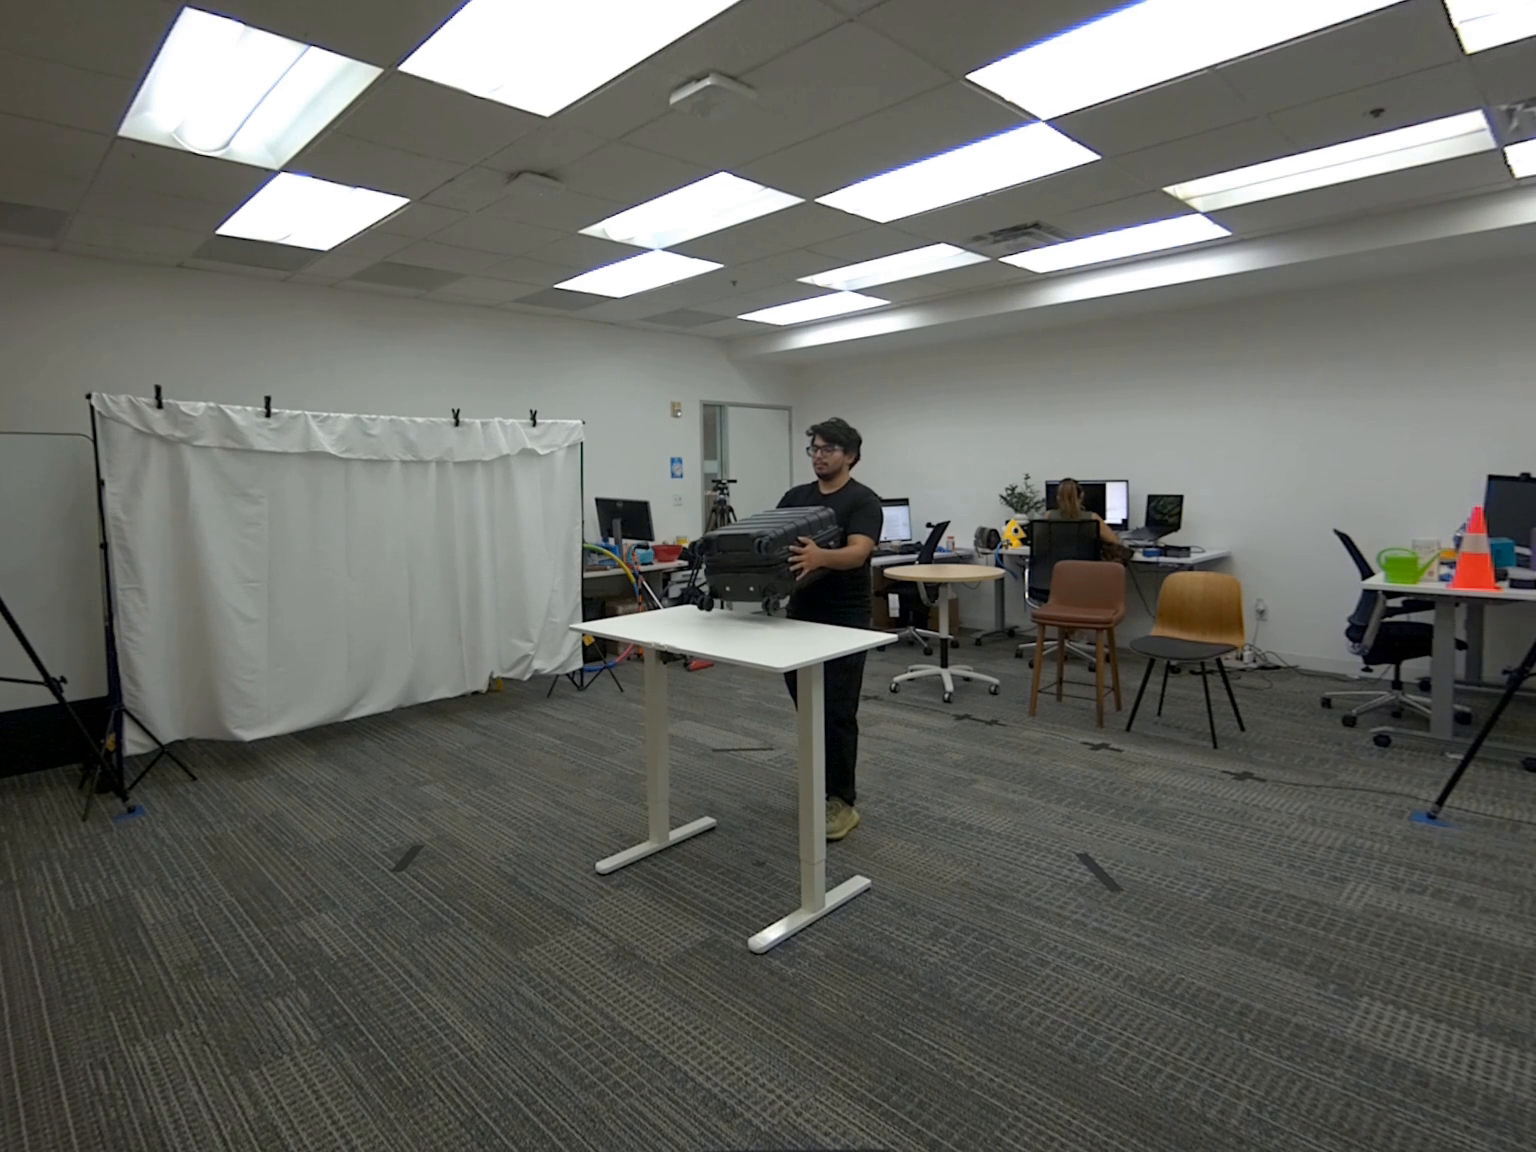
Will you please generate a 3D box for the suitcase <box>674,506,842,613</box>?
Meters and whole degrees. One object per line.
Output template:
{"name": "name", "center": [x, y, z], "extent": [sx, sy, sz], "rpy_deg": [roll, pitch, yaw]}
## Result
{"name": "suitcase", "center": [0.016, -0.087, 3.213], "extent": [0.386, 0.245, 0.541], "rpy_deg": [0, 17, 37]}
